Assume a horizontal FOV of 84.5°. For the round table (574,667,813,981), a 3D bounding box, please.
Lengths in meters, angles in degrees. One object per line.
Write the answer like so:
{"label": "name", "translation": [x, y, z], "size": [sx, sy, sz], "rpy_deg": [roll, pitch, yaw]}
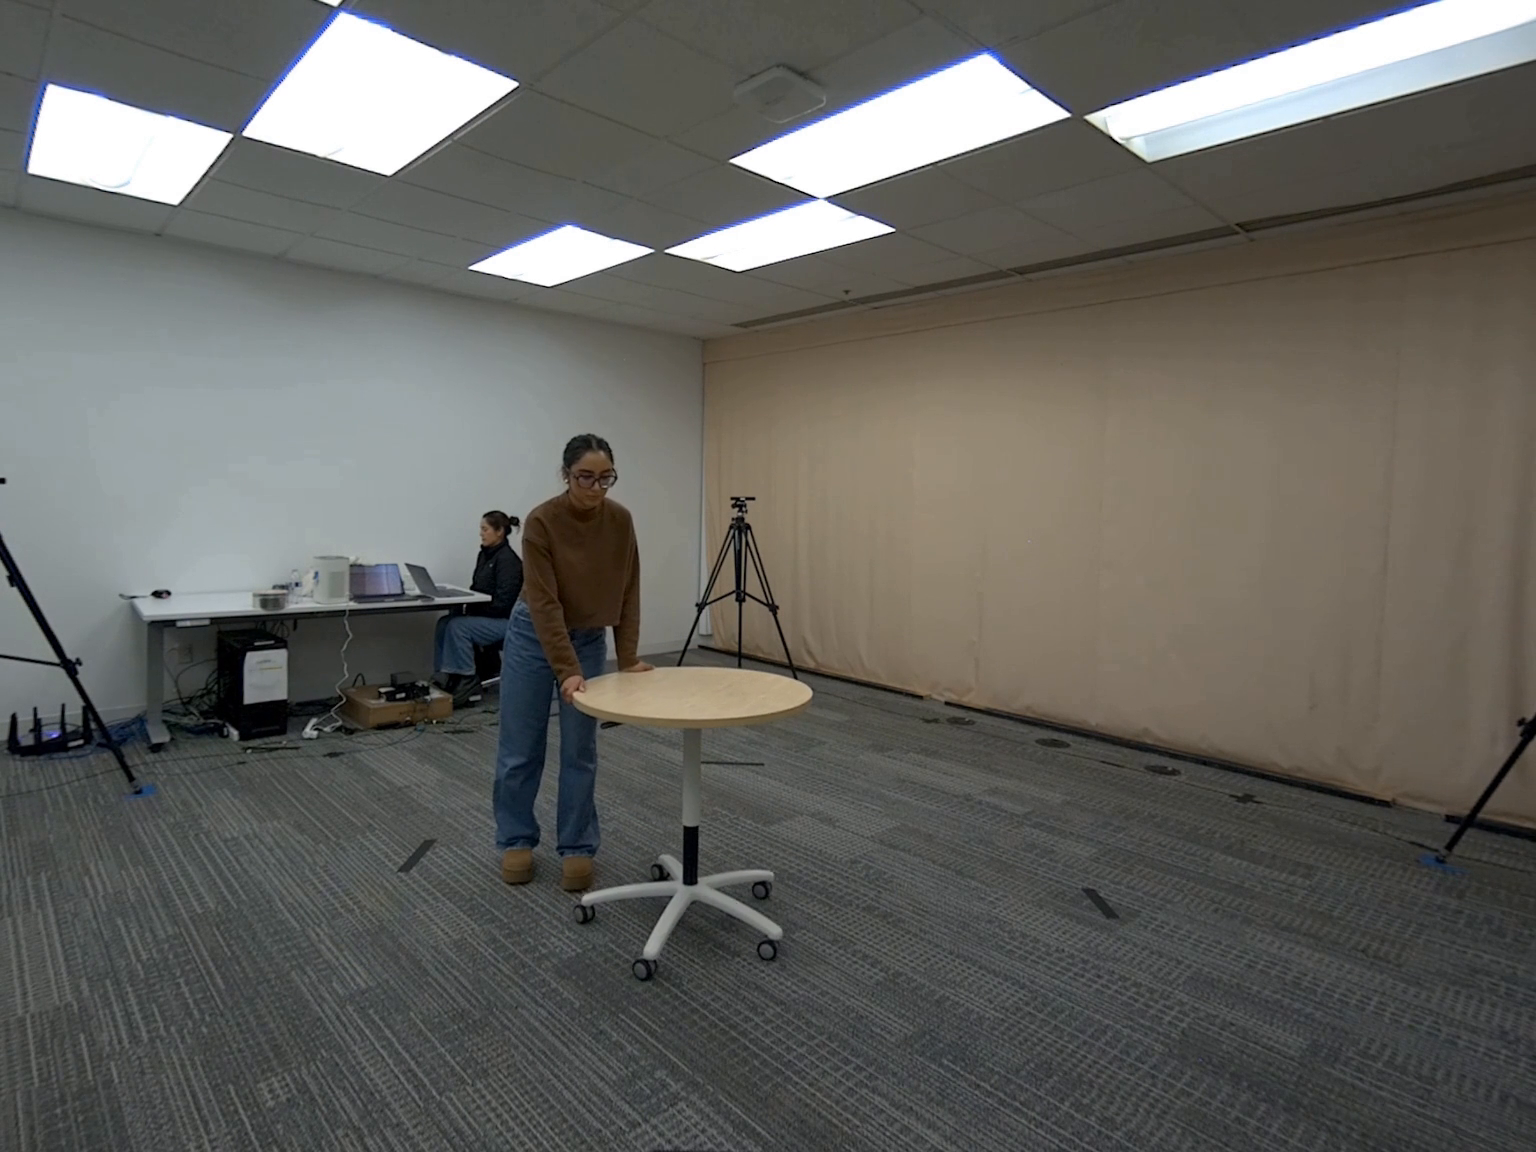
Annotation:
{"label": "round table", "translation": [-0.261, 0.753, 2.719], "size": [0.763, 0.792, 0.767], "rpy_deg": [1, 4, -1]}
